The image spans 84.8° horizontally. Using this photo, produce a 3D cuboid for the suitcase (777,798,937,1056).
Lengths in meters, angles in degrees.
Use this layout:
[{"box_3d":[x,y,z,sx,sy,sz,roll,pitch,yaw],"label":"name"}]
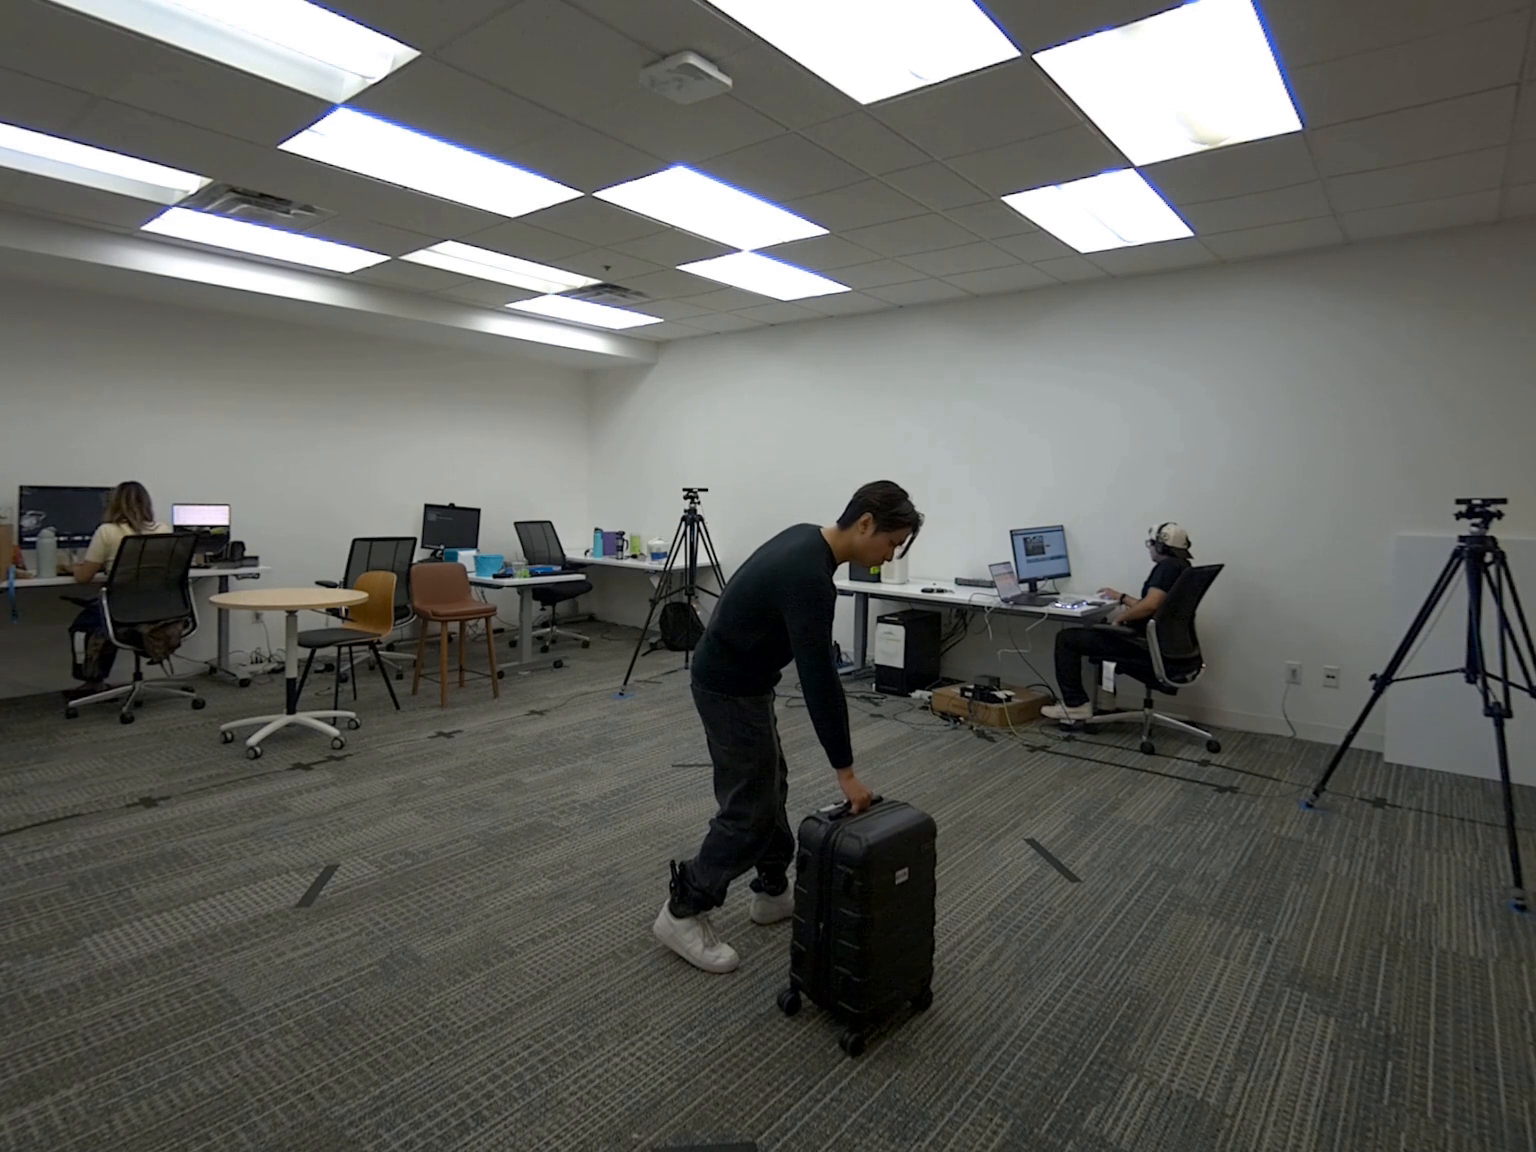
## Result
[{"box_3d":[0.262,0.886,2.281,0.364,0.548,0.257,0,4,-43],"label":"suitcase"}]
